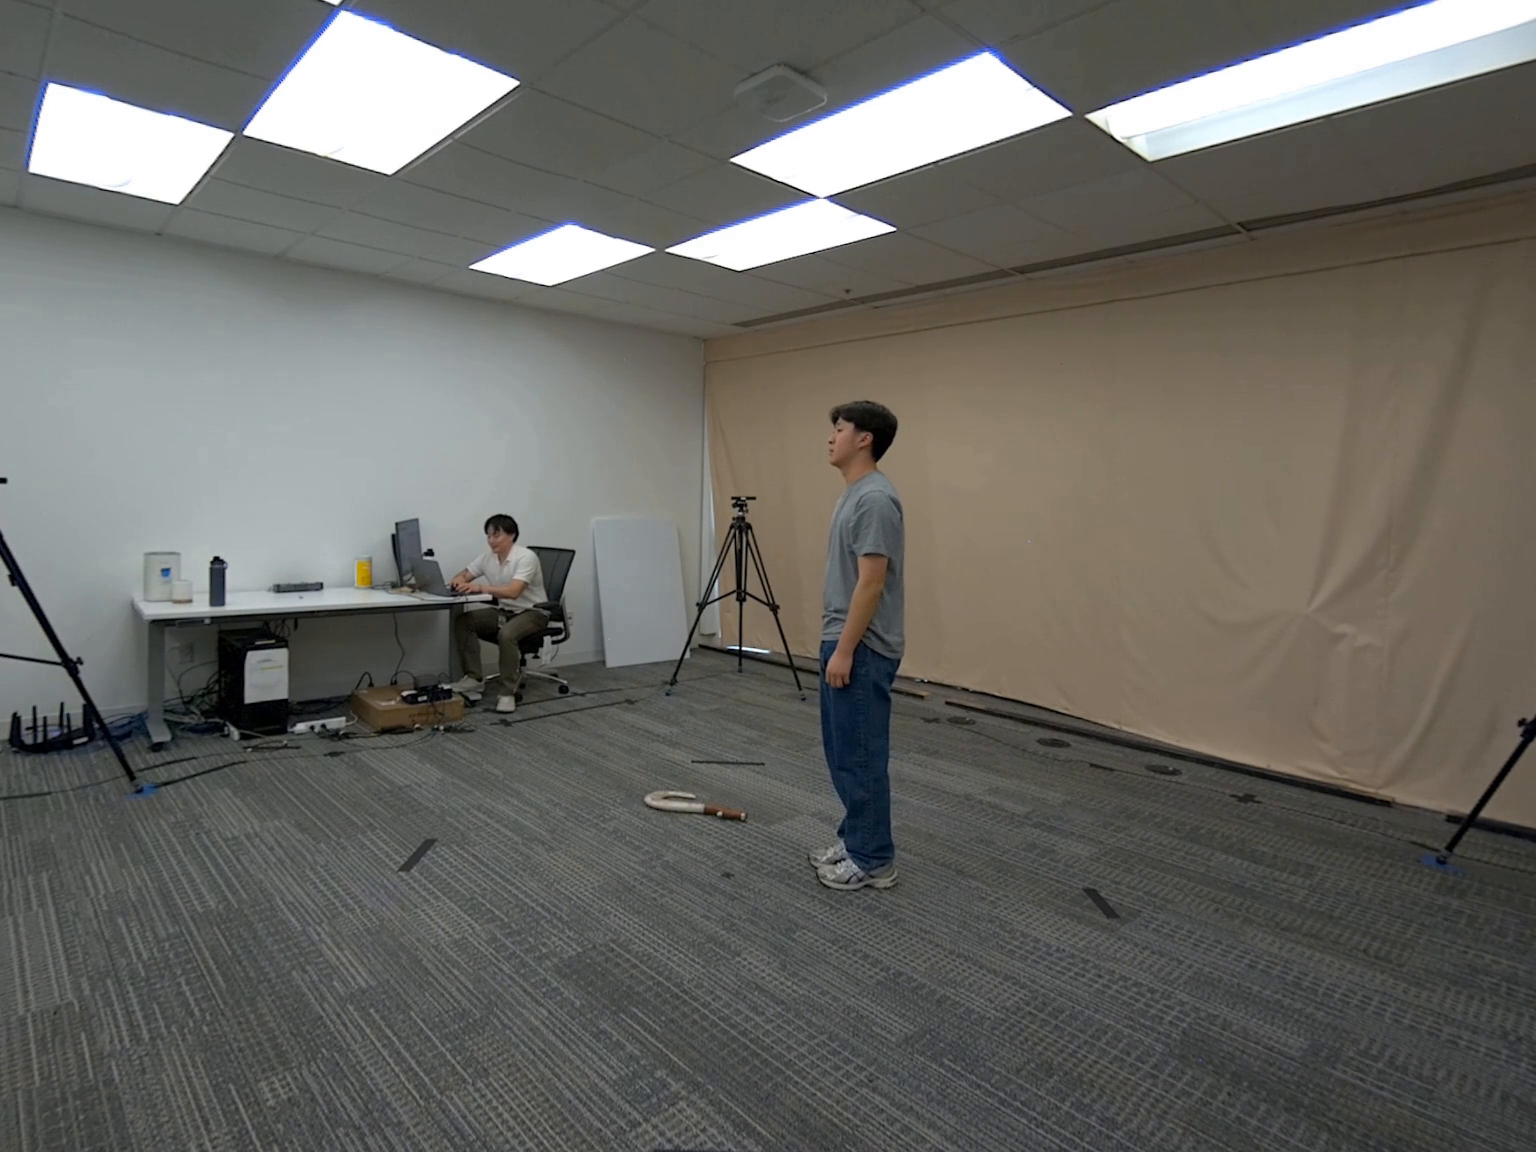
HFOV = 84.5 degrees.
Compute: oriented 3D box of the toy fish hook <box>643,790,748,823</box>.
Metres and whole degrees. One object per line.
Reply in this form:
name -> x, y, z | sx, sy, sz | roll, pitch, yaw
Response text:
toy fish hook -> -0.316, 1.020, 3.776 | 0.516, 0.048, 0.221 | 4, 6, 22
